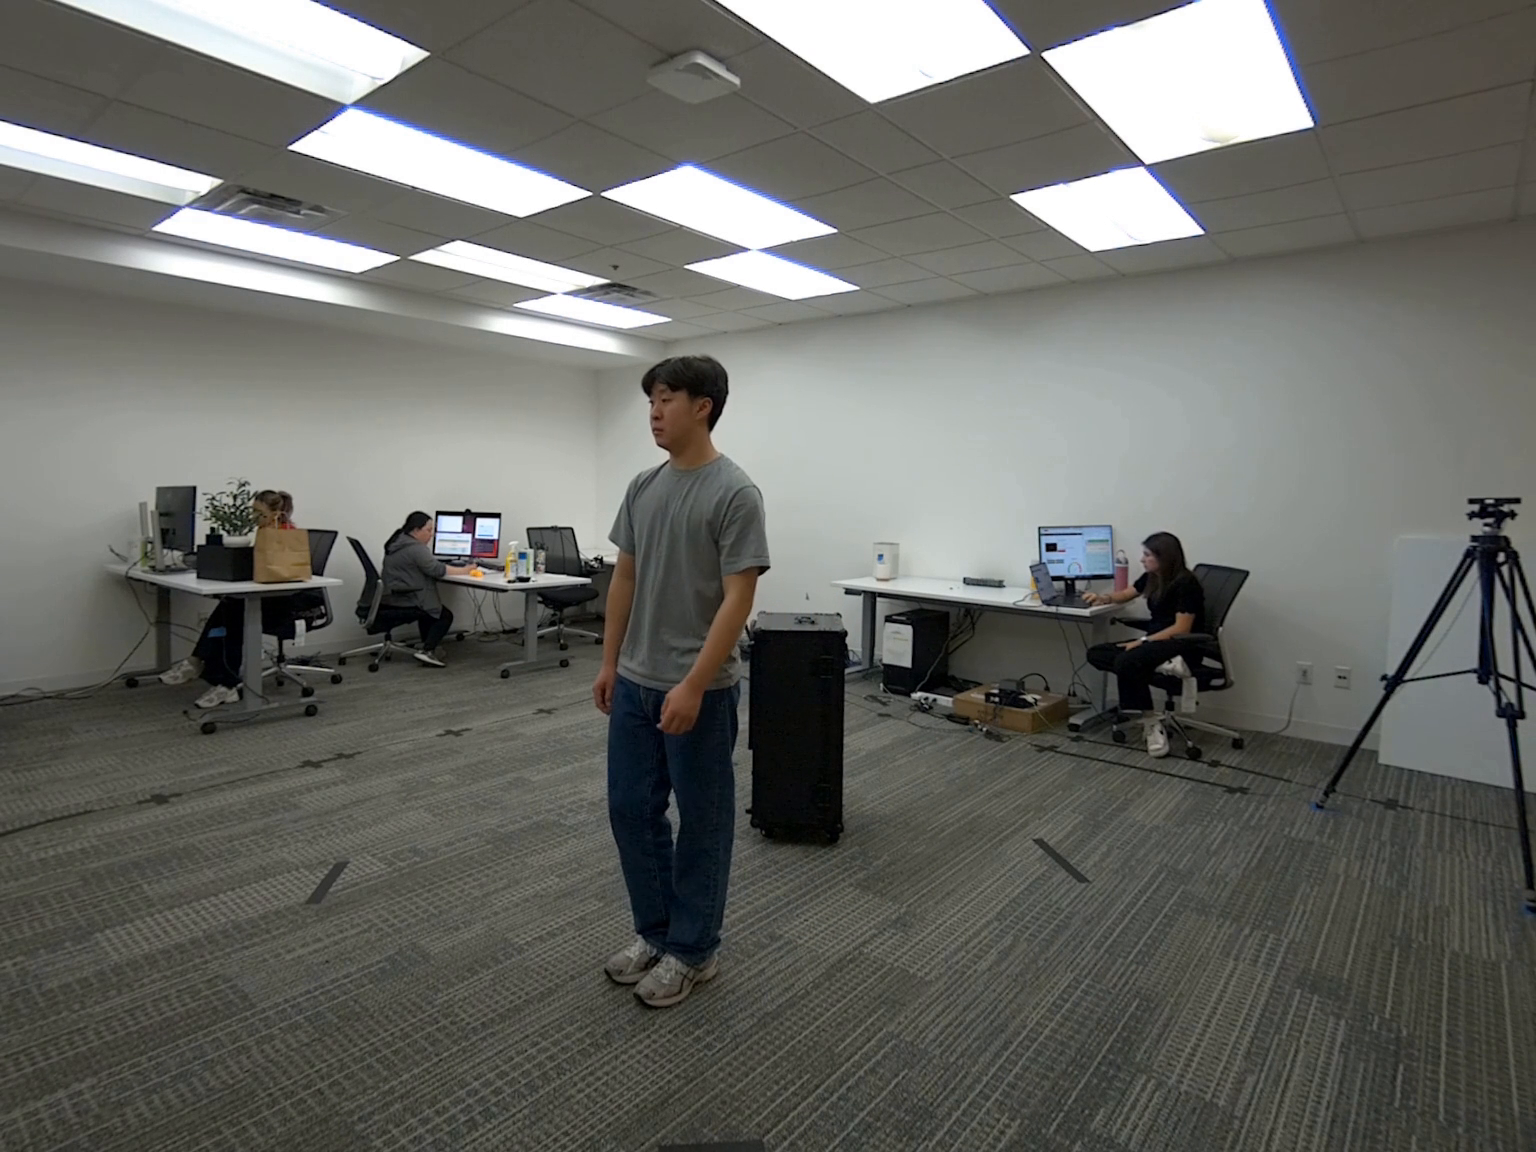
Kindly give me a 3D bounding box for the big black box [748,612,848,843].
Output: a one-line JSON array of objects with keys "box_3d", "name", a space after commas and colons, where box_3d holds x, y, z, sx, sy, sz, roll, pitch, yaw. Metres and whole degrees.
[{"box_3d": [0.109, 0.605, 3.522, 0.399, 0.859, 0.520, 0, 4, 4], "name": "big black box"}]
